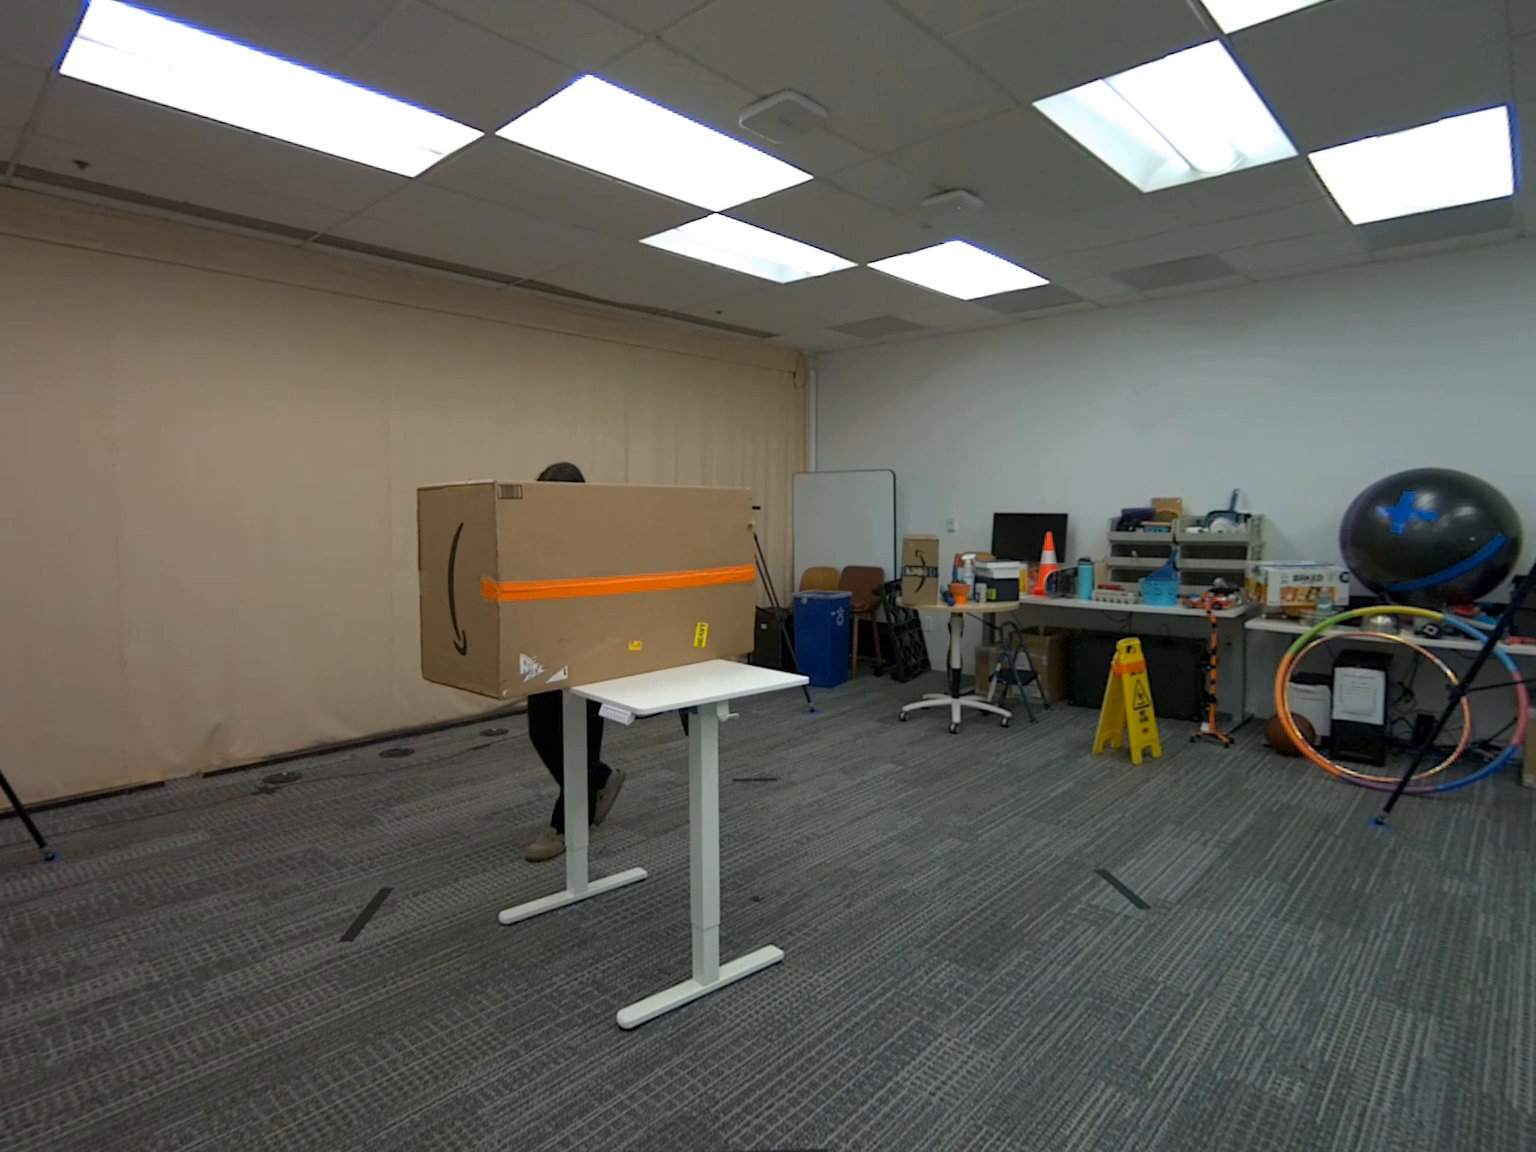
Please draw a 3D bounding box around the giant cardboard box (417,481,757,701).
[{"bbox_3d":[-0.530,0.002,2.702,0.440,0.576,0.994,2,5,41],"label":"giant cardboard box"}]
